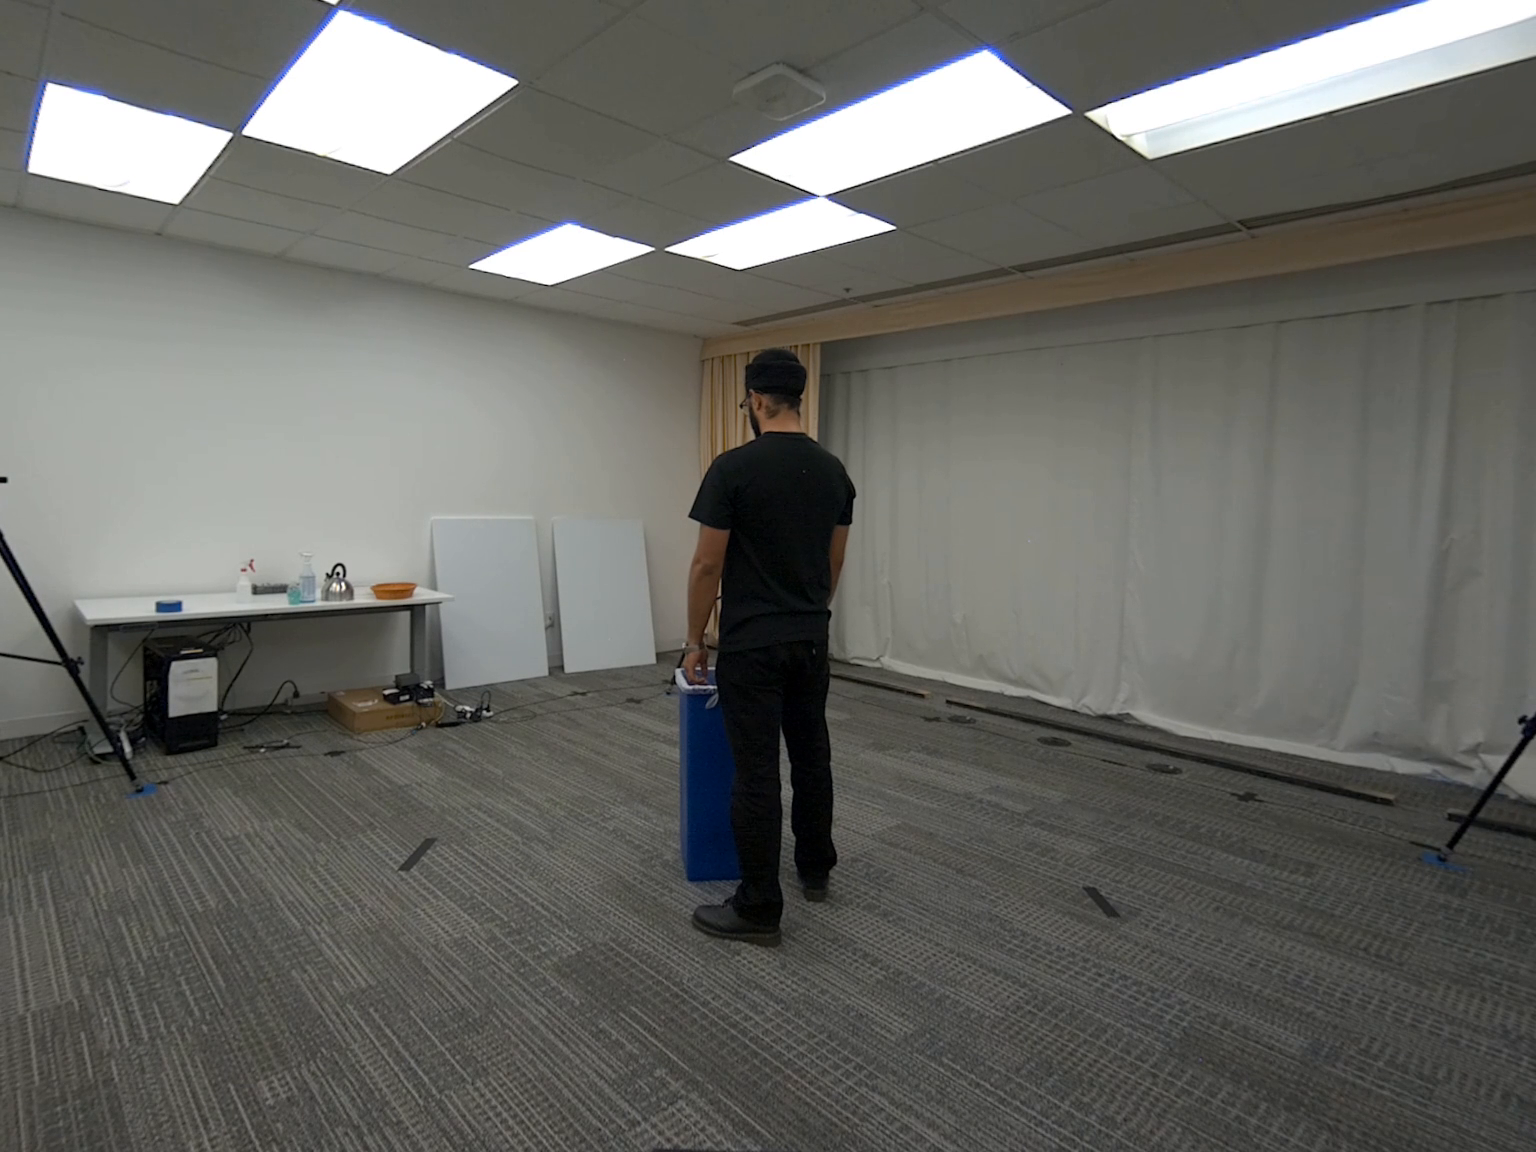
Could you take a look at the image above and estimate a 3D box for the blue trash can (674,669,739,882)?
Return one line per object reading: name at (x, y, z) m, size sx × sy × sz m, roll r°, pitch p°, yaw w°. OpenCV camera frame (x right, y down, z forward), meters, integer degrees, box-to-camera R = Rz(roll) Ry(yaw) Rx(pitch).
blue trash can at (-0.161, 0.734, 3.182) m, size 0.375 × 0.712 × 0.377 m, roll 1°, pitch 2°, yaw -10°
